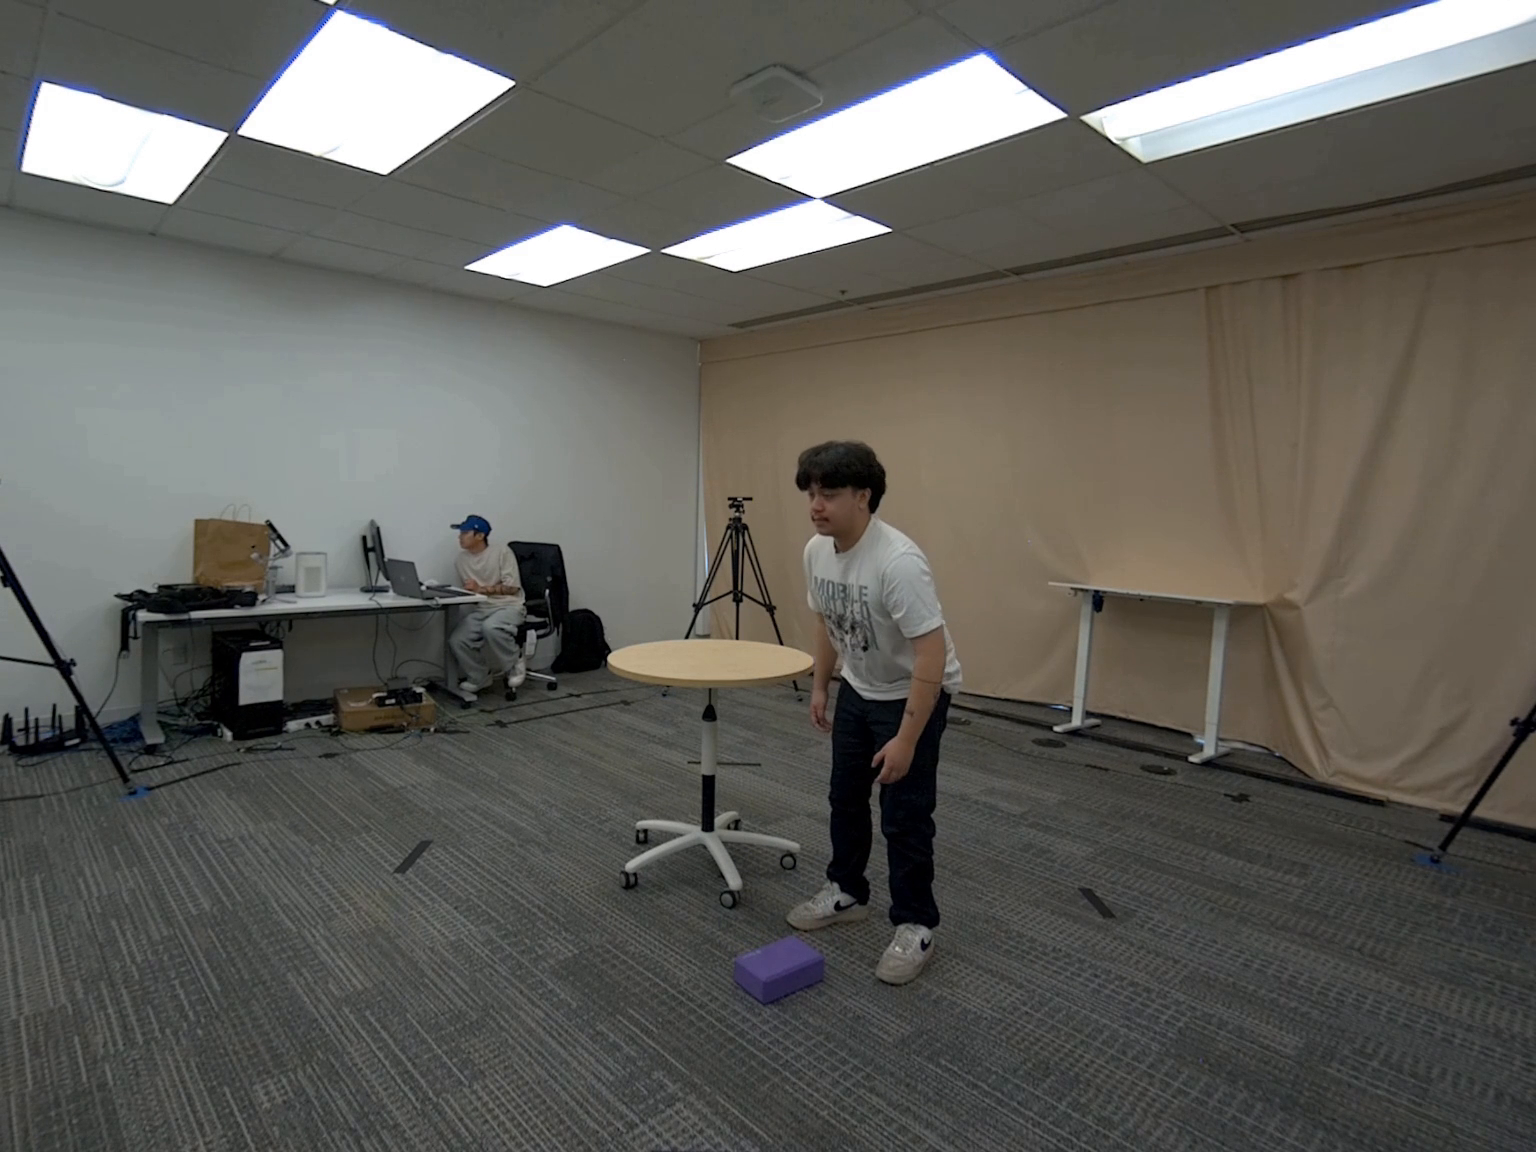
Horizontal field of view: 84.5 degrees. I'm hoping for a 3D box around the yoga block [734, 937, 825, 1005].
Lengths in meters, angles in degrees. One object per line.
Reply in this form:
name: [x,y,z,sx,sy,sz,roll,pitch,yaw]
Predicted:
yoga block: [0.032,1.132,2.431,0.224,0.076,0.153,-4,7,-38]
